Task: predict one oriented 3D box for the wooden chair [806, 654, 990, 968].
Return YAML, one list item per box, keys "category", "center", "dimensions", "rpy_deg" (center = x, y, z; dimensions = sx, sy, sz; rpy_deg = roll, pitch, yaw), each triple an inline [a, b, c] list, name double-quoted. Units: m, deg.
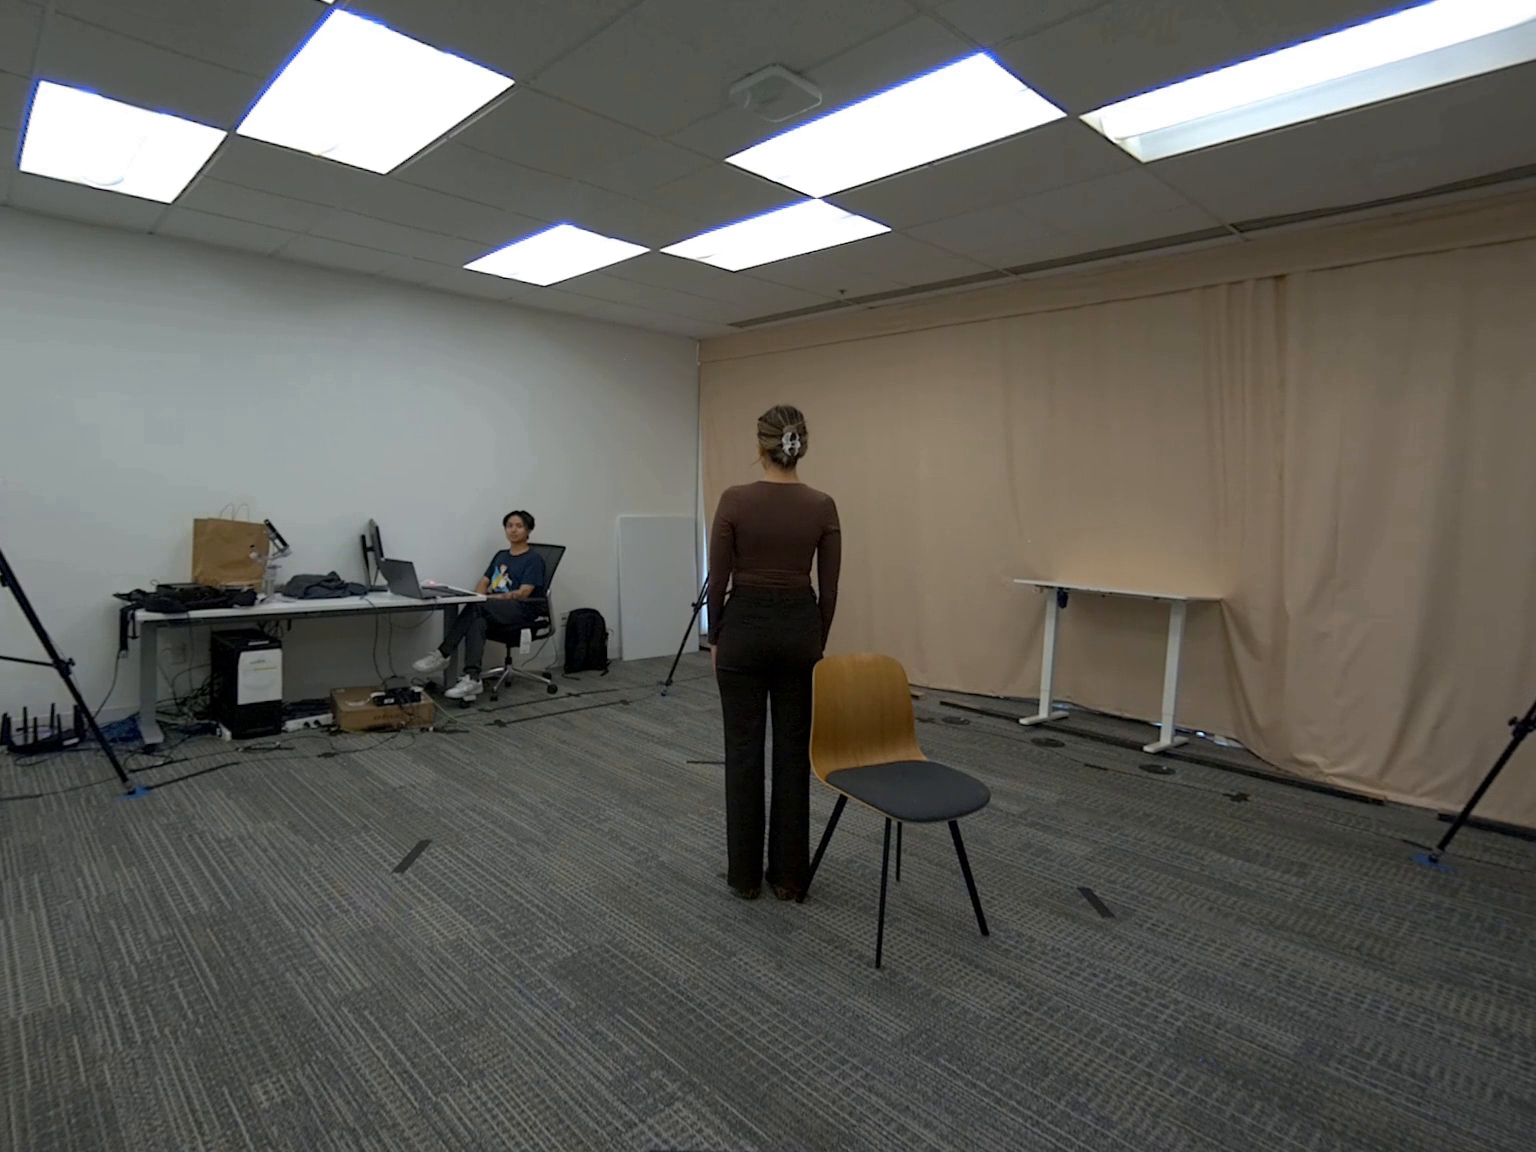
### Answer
- category: "wooden chair"
  center: [0.416, 0.725, 2.775]
  dimensions: [0.468, 0.878, 0.533]
  rpy_deg: [0, -1, -29]
